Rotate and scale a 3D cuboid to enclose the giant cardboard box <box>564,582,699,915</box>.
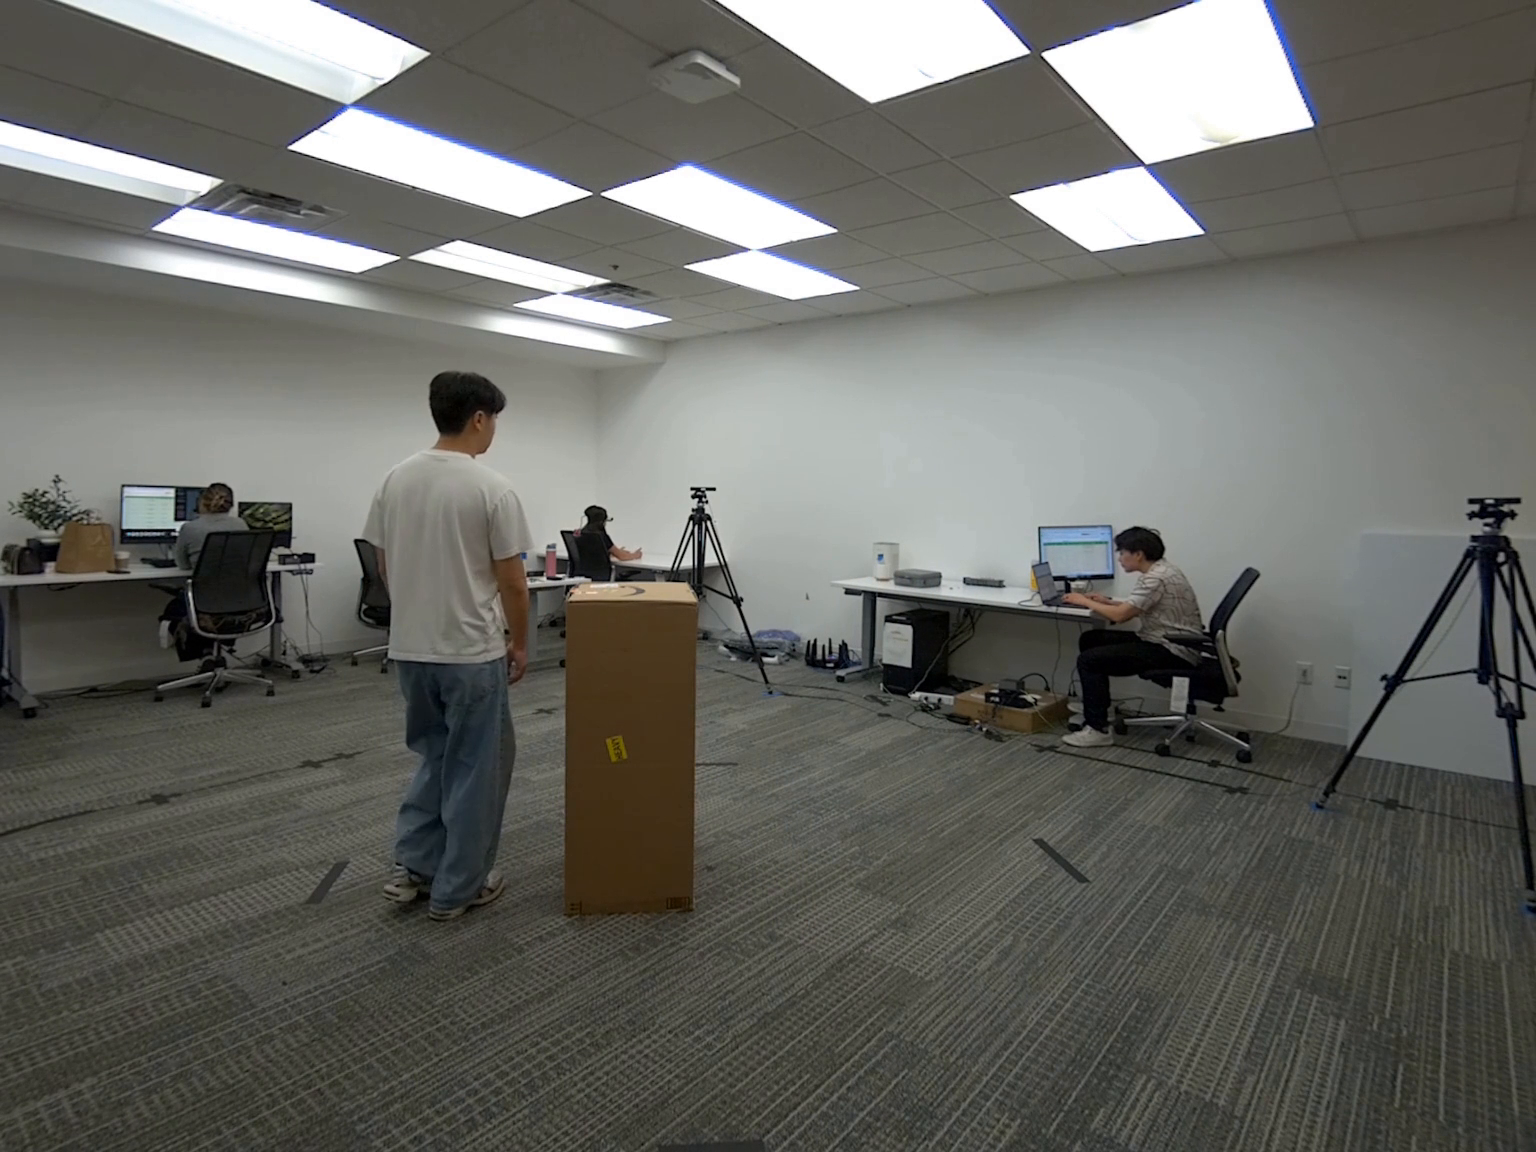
[{"bbox_3d":[-0.496,0.560,3.028,0.423,1.023,0.584,0,3,-8],"label":"giant cardboard box"}]
